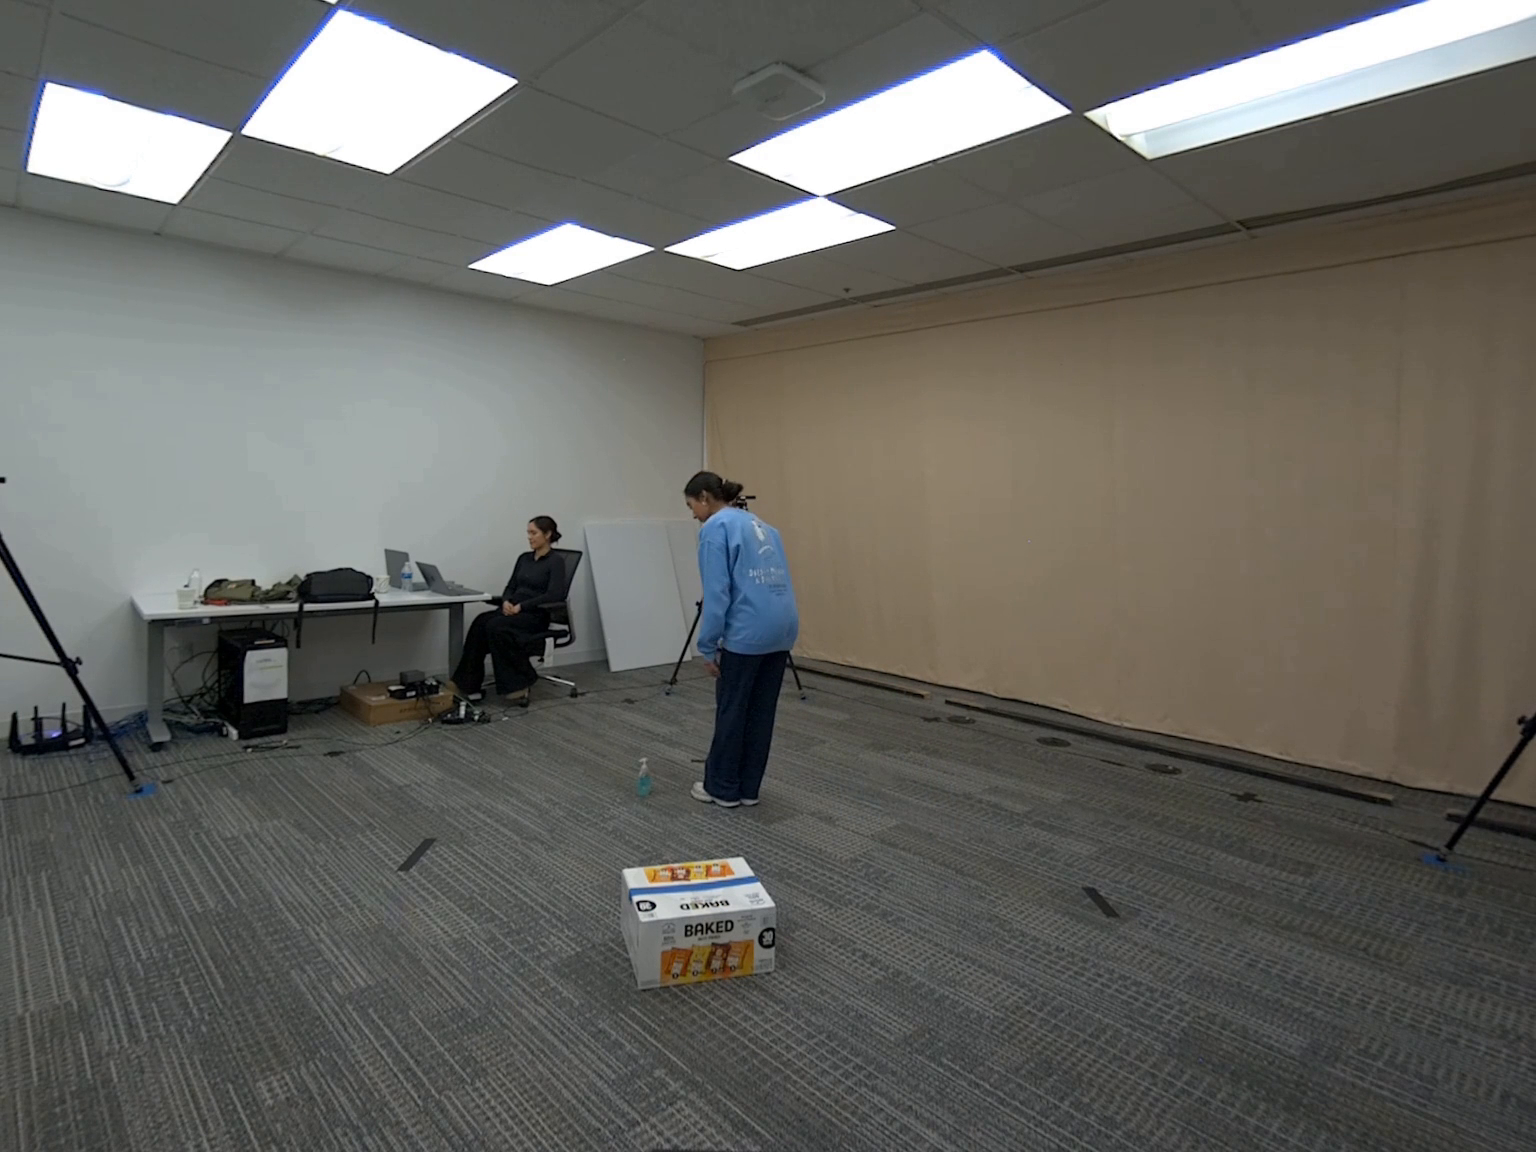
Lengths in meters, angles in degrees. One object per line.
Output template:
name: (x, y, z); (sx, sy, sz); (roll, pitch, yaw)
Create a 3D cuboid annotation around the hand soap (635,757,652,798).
hand soap: (-0.580, 0.931, 3.928); (0.044, 0.168, 0.082); (4, 4, 43)
